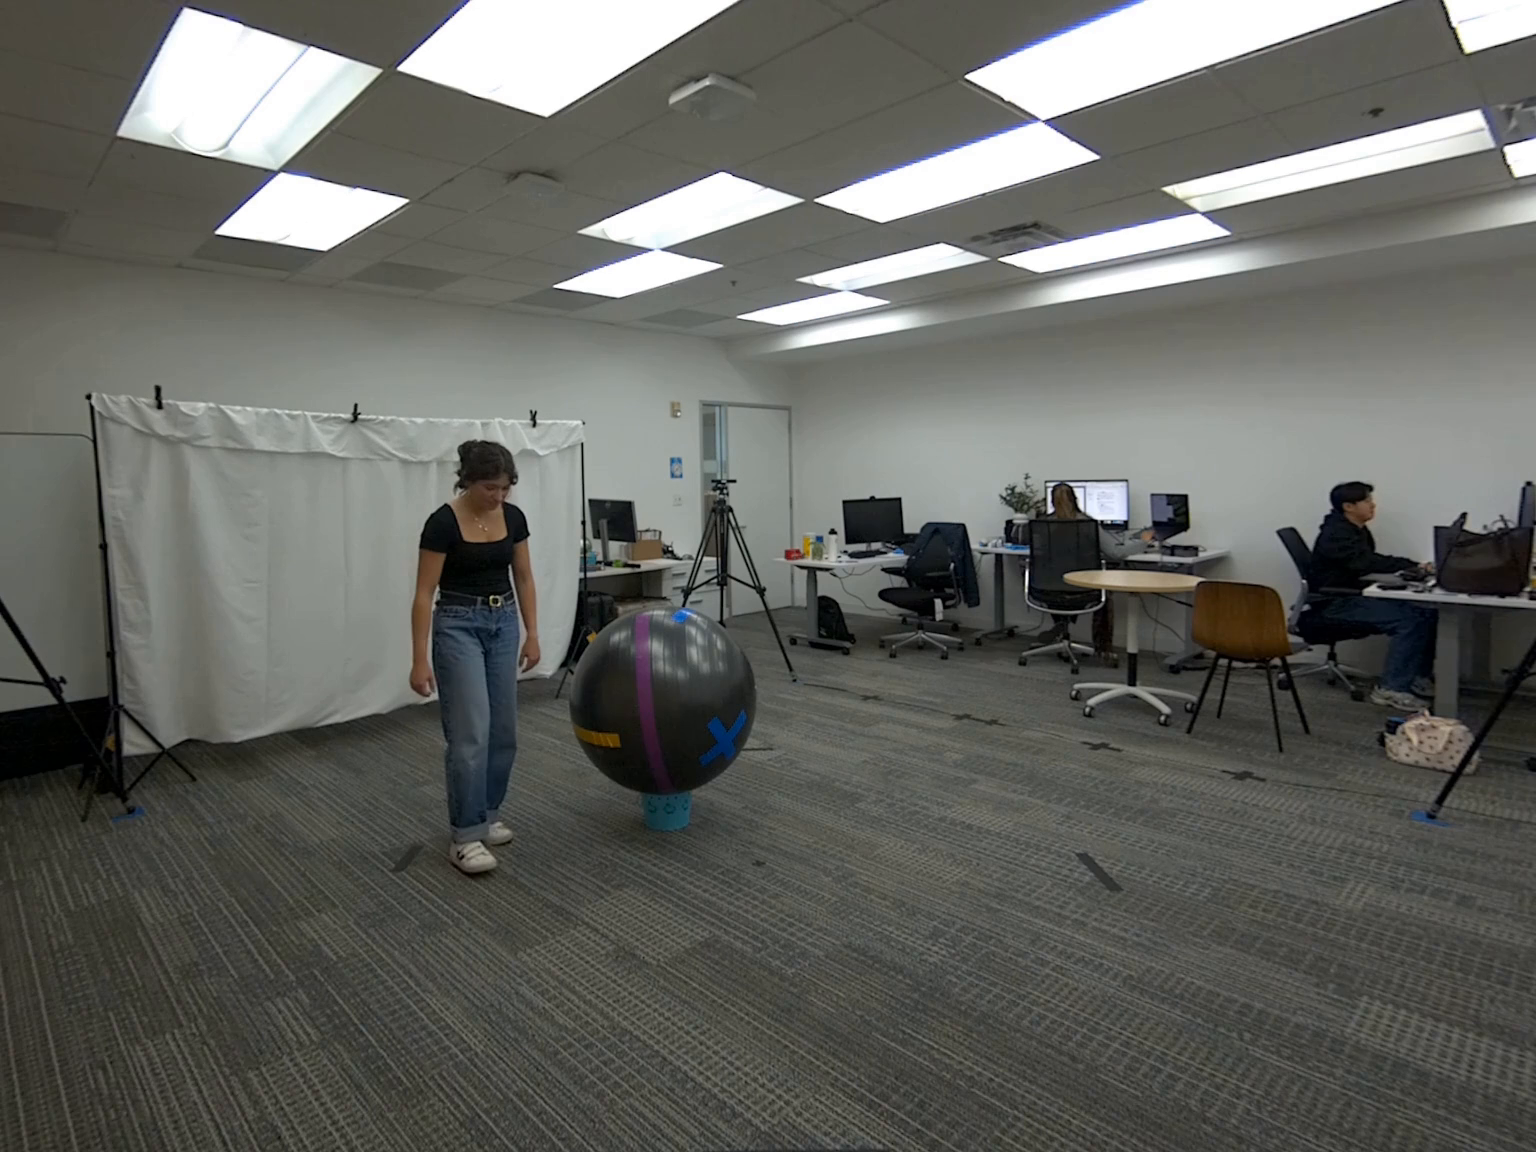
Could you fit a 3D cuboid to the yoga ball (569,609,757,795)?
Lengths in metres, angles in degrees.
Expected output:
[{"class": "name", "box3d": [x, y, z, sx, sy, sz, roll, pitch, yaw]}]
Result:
[{"class": "yoga ball", "box3d": [-0.426, 0.500, 3.495, 0.757, 0.755, 0.762, -1, 5, -2]}]
